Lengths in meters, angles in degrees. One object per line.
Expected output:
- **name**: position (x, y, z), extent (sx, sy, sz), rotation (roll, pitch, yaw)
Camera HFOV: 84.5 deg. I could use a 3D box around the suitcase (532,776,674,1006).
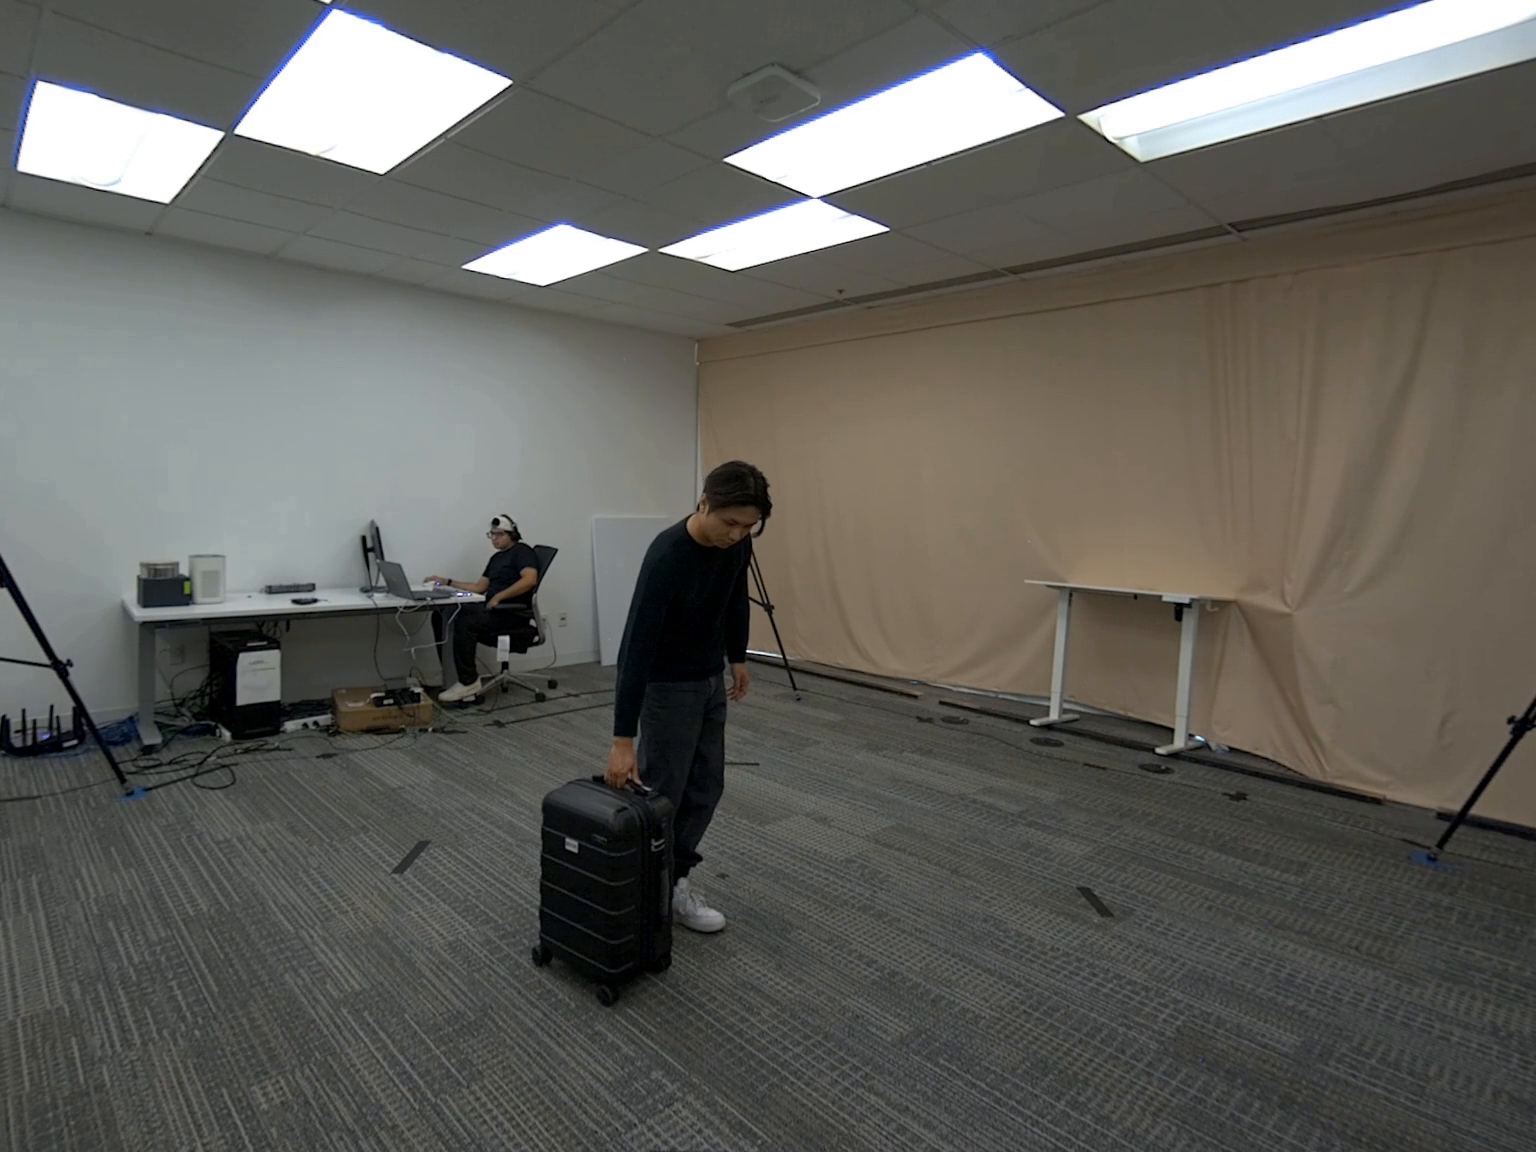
- **suitcase**: position (-0.481, 0.886, 2.449), extent (0.385, 0.547, 0.243), rotation (6, 6, 37)
